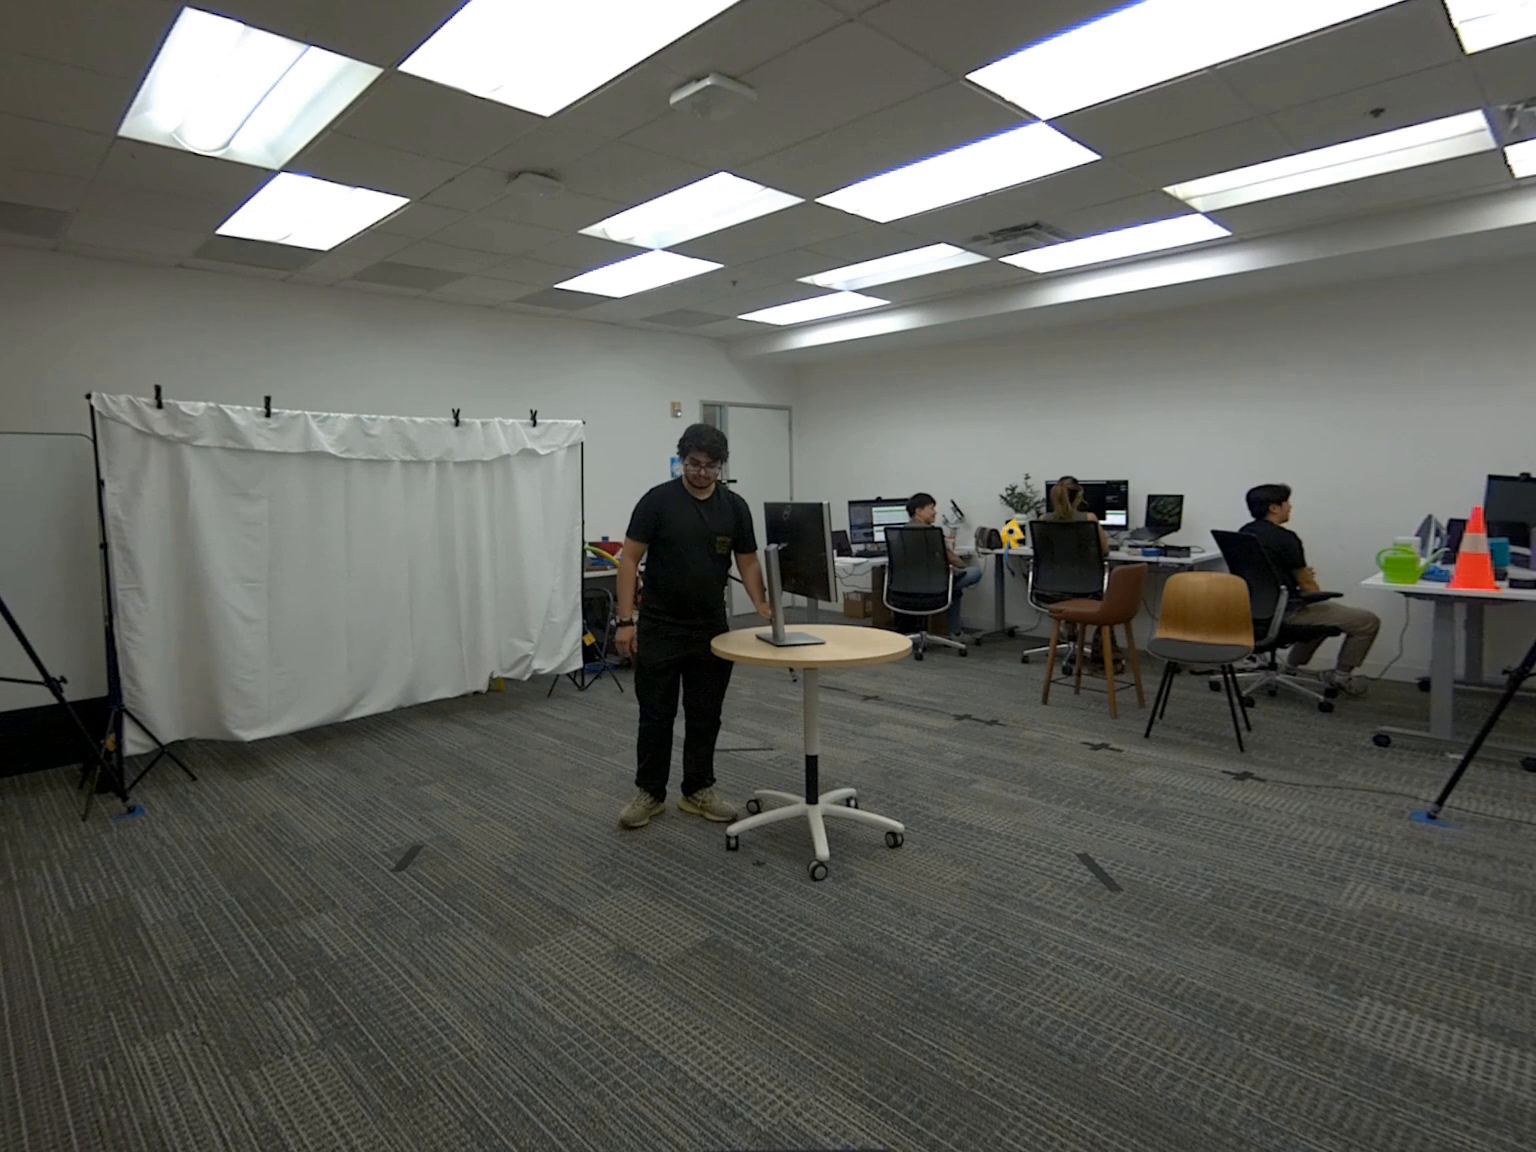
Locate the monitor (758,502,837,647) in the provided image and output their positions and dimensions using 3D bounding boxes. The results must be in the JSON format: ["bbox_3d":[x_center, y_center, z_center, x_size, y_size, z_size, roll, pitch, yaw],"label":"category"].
[{"bbox_3d":[0.060,-0.013,3.270,0.207,0.552,0.577,-5,5,-20],"label":"monitor"}]
